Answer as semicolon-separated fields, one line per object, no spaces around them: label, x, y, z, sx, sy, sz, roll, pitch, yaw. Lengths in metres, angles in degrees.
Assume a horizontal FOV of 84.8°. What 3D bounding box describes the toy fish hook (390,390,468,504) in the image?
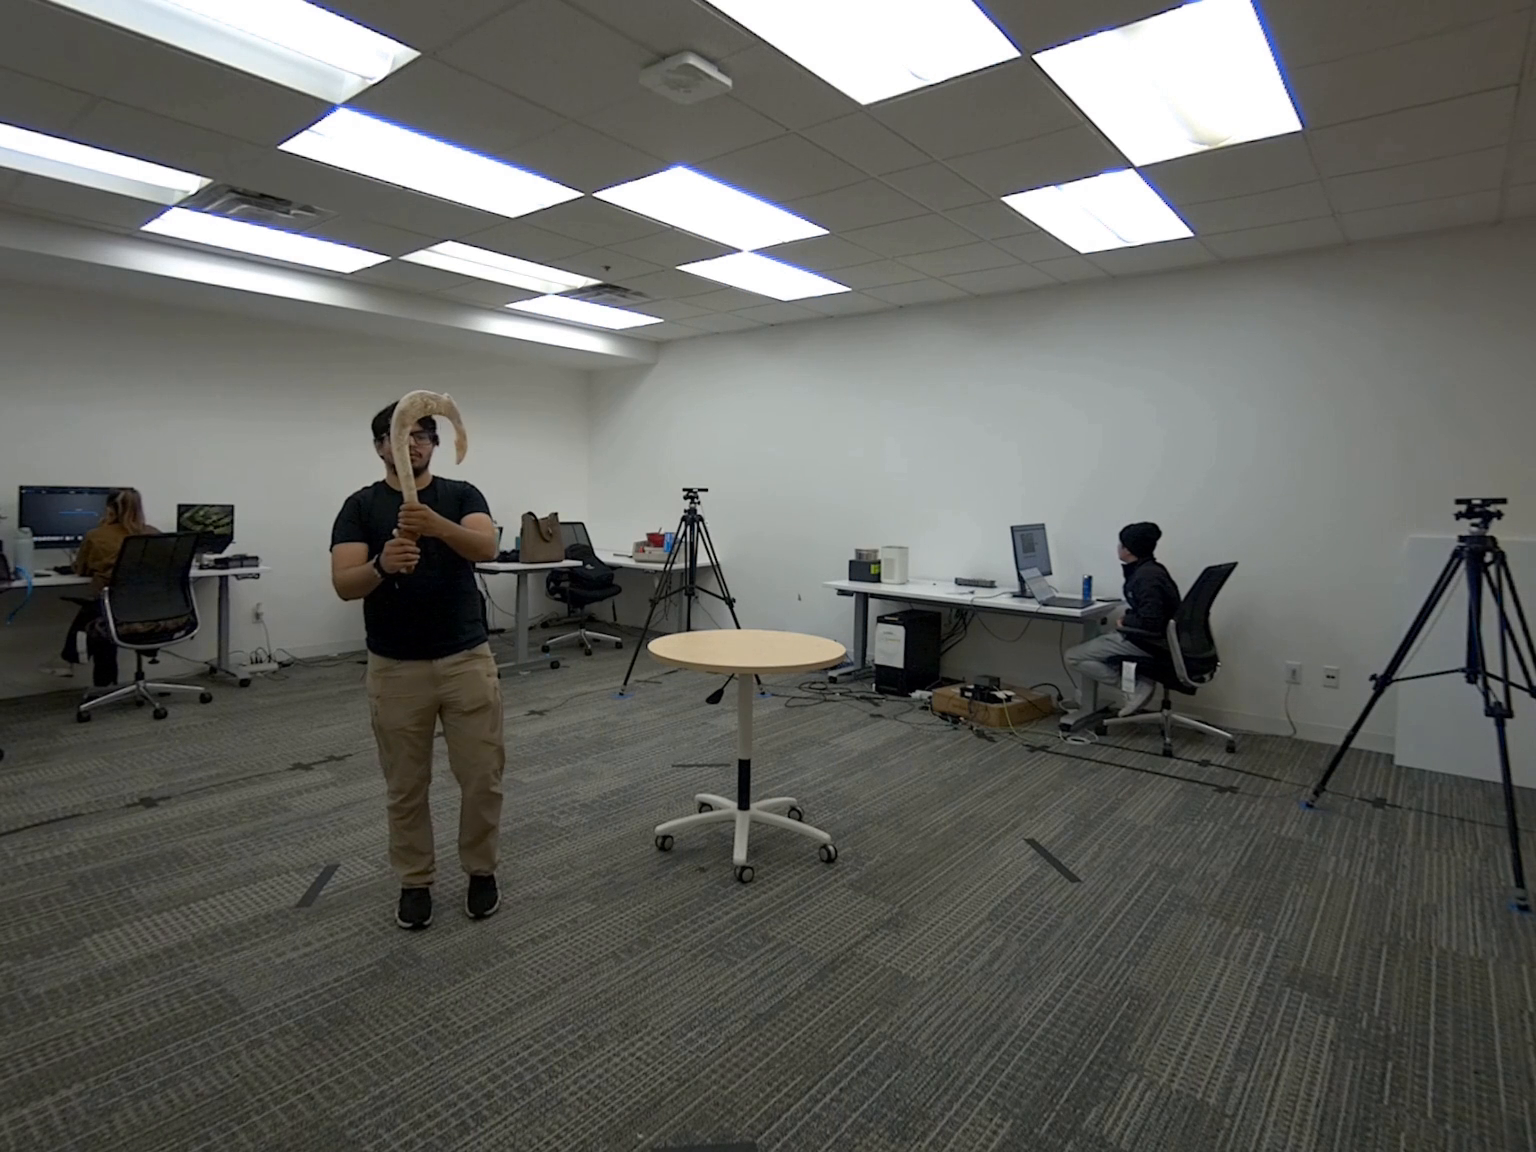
toy fish hook;-0.968;-0.260;2.367;0.217;0.505;0.050;3;4;-43
